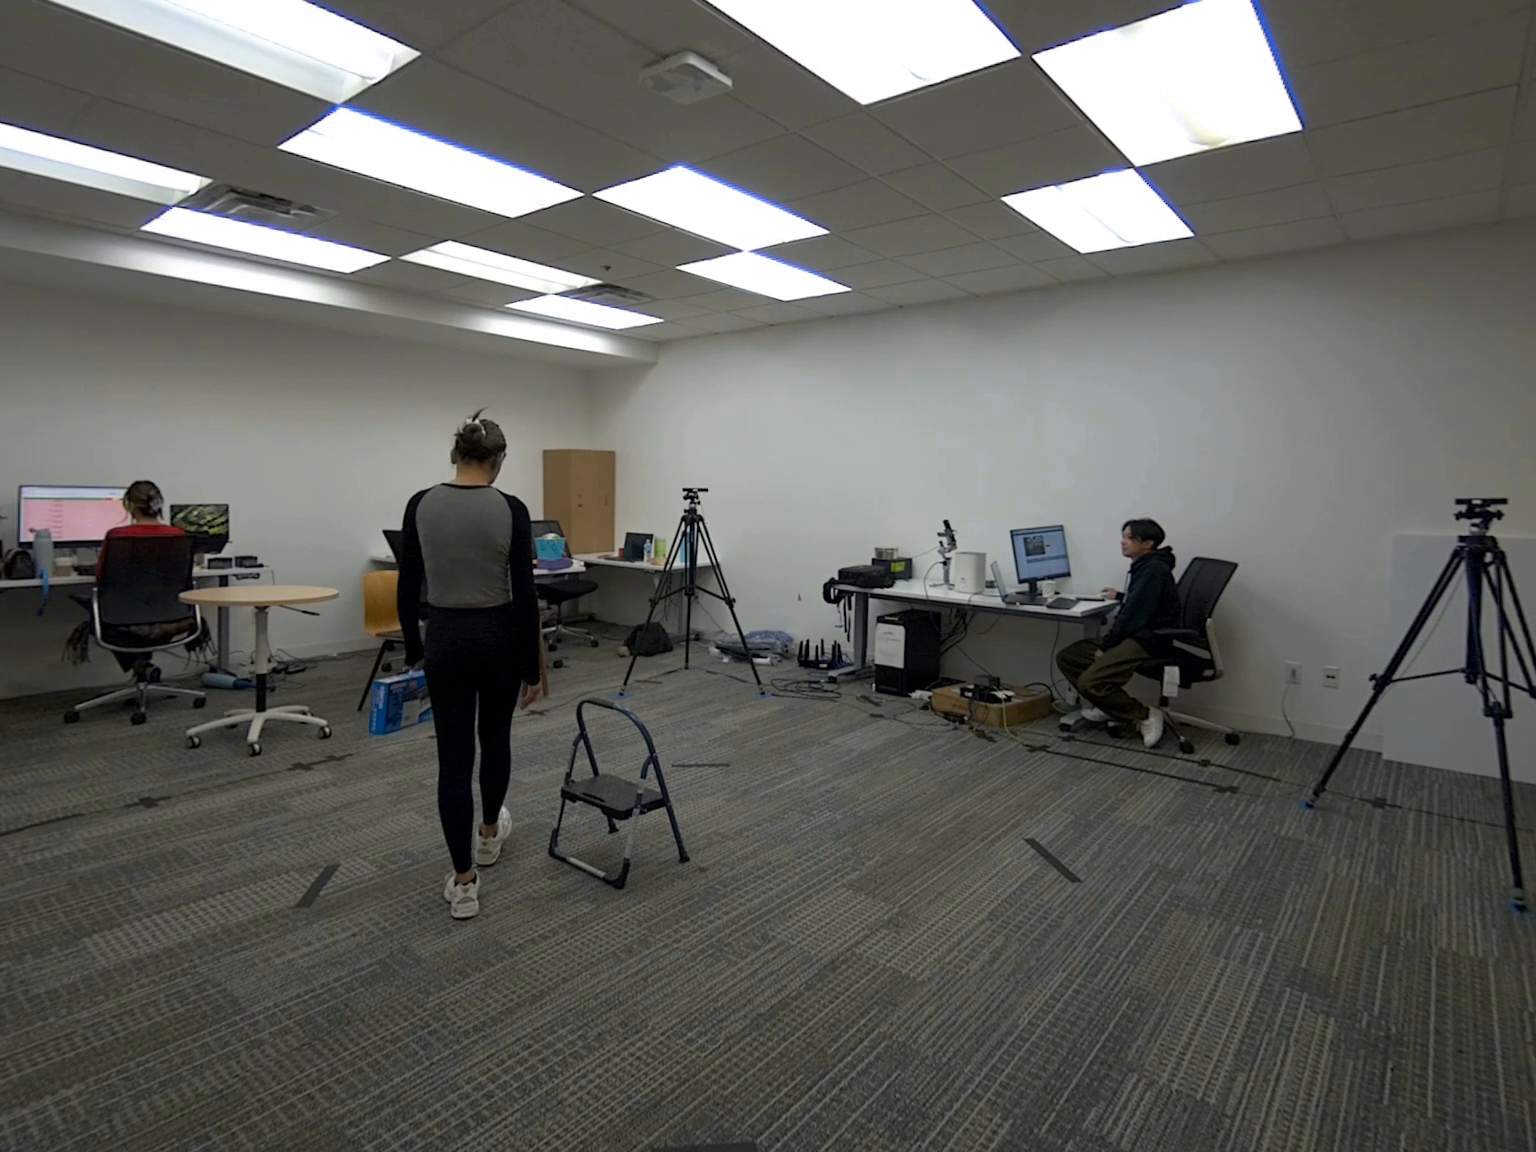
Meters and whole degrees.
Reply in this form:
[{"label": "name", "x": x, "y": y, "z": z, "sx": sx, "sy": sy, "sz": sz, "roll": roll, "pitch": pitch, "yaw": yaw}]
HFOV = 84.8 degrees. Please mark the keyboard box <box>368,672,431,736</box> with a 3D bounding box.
[{"label": "keyboard box", "x": -1.240, "y": 0.427, "z": 2.985, "sx": 0.060, "sy": 0.176, "sz": 0.431, "roll": 6, "pitch": 1, "yaw": 8}]
